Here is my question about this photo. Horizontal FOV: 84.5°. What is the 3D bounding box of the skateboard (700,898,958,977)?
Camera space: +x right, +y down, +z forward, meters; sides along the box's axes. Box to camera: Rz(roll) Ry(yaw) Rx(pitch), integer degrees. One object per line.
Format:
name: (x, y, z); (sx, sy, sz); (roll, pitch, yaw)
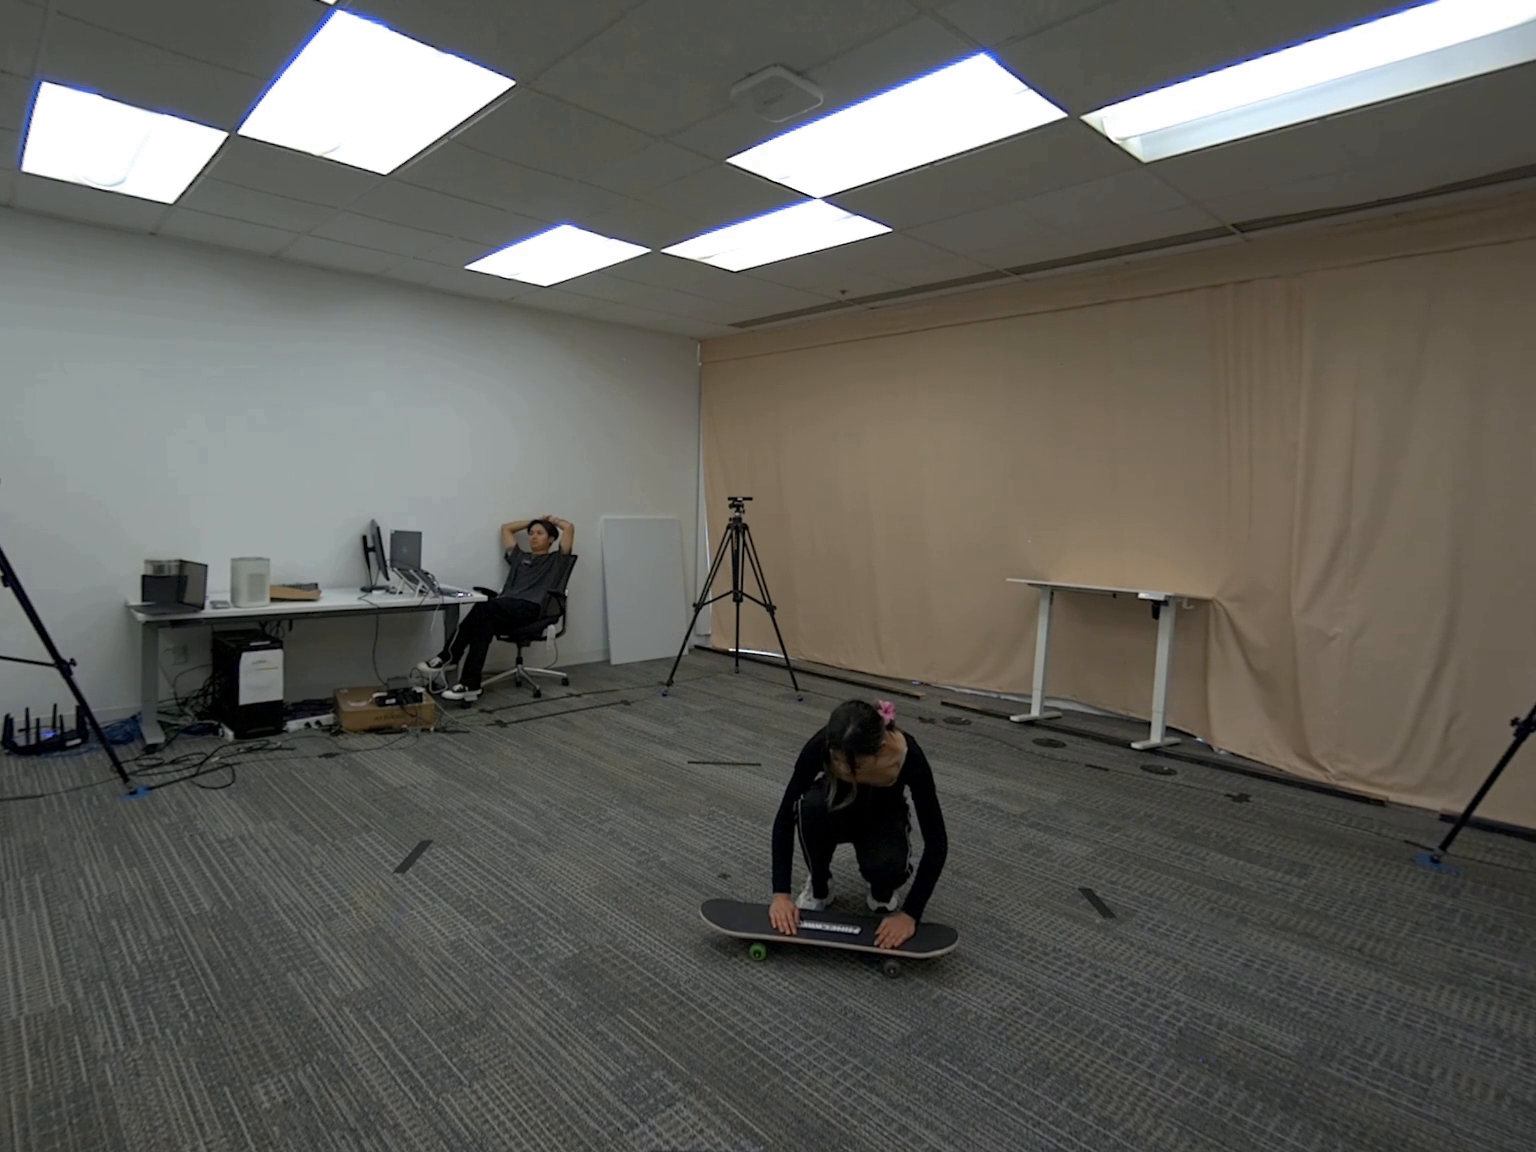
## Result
skateboard: (0.160, 1.101, 2.584); (0.792, 0.110, 0.192); (3, 4, 10)
